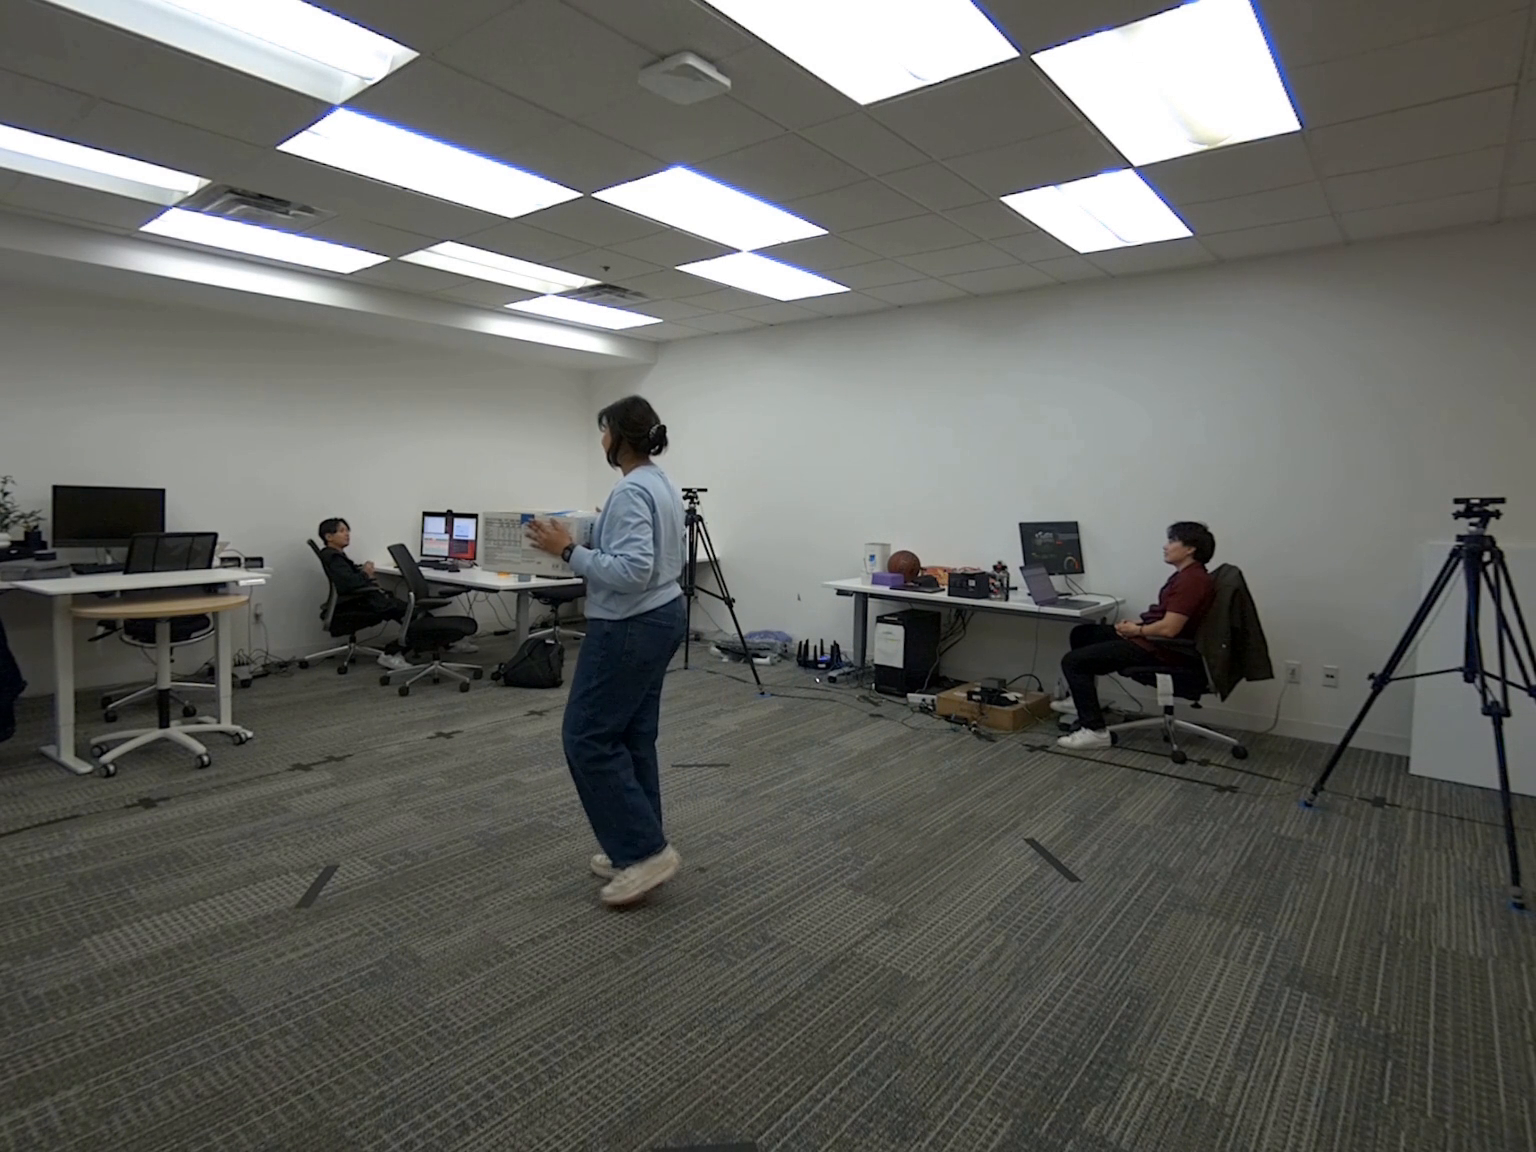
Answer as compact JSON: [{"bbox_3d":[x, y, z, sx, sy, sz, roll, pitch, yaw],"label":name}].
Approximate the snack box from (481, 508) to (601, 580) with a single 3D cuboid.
[{"bbox_3d":[-0.775,-0.126,3.020,0.345,0.205,0.402,4,6,10],"label":"snack box"}]
